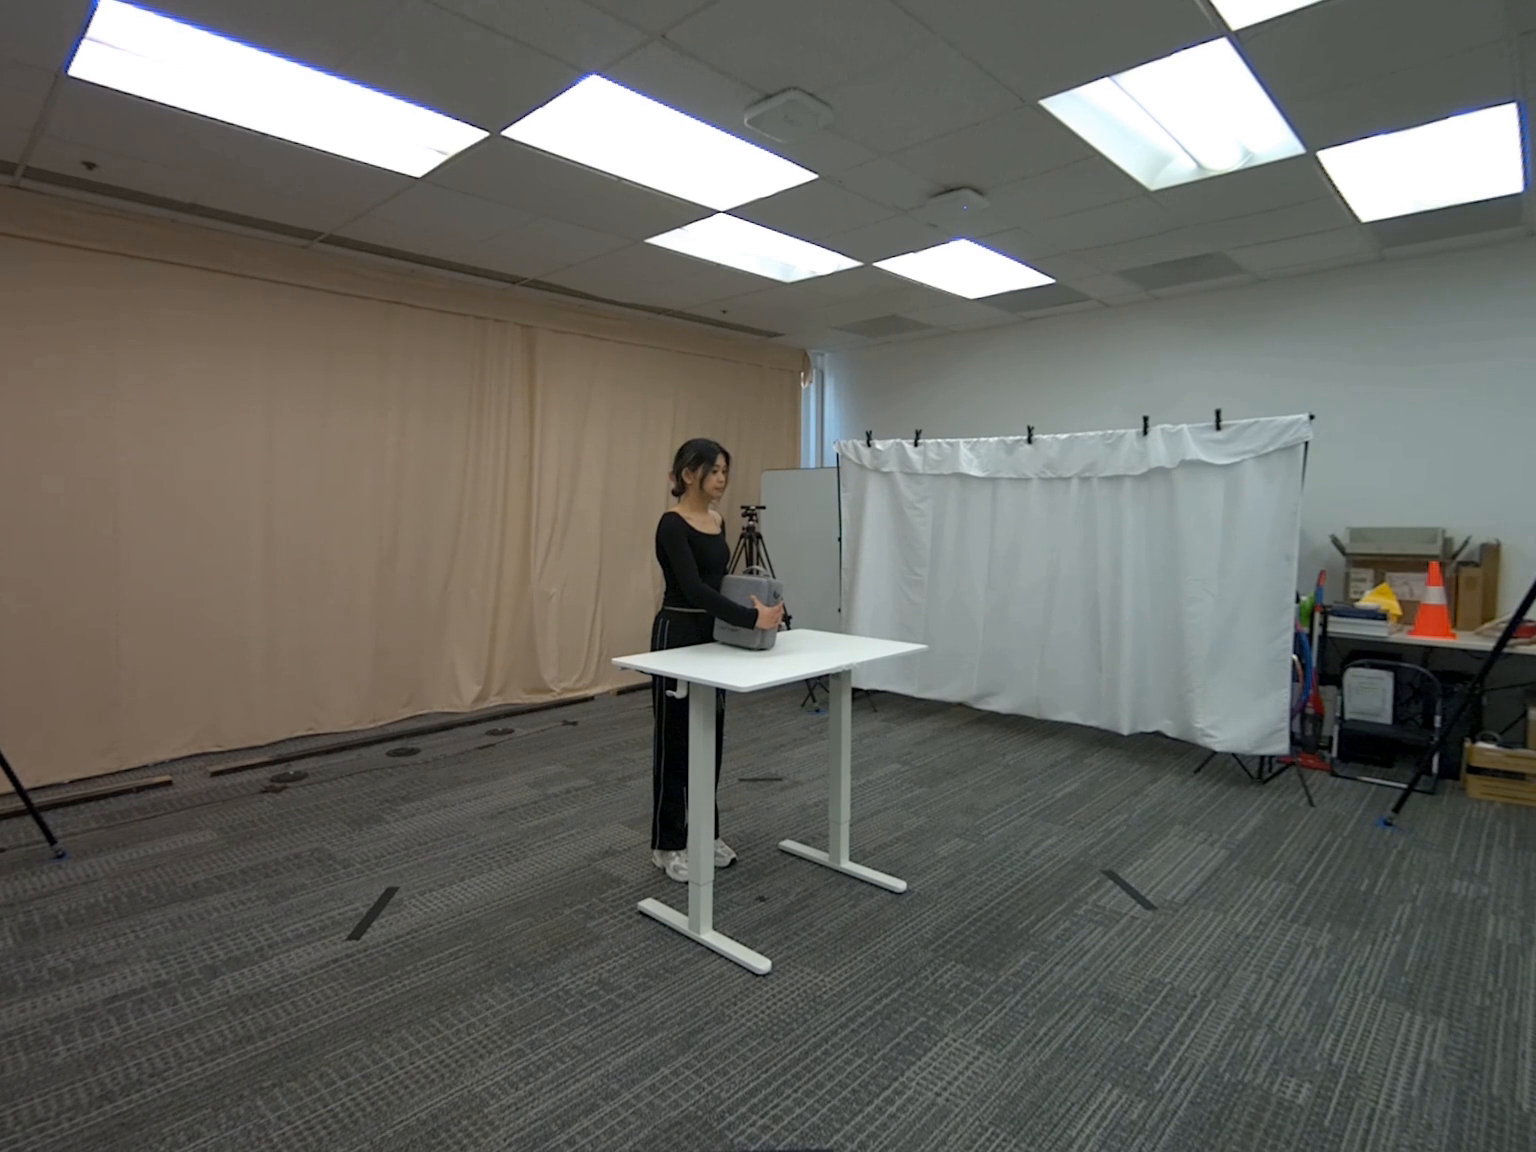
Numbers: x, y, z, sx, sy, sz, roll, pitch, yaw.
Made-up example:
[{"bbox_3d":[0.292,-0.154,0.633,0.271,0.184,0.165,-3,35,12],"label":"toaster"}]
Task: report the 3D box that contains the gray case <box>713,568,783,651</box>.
[{"bbox_3d":[-0.069,0.126,3.042,0.101,0.261,0.265,11,-4,-39],"label":"gray case"}]
